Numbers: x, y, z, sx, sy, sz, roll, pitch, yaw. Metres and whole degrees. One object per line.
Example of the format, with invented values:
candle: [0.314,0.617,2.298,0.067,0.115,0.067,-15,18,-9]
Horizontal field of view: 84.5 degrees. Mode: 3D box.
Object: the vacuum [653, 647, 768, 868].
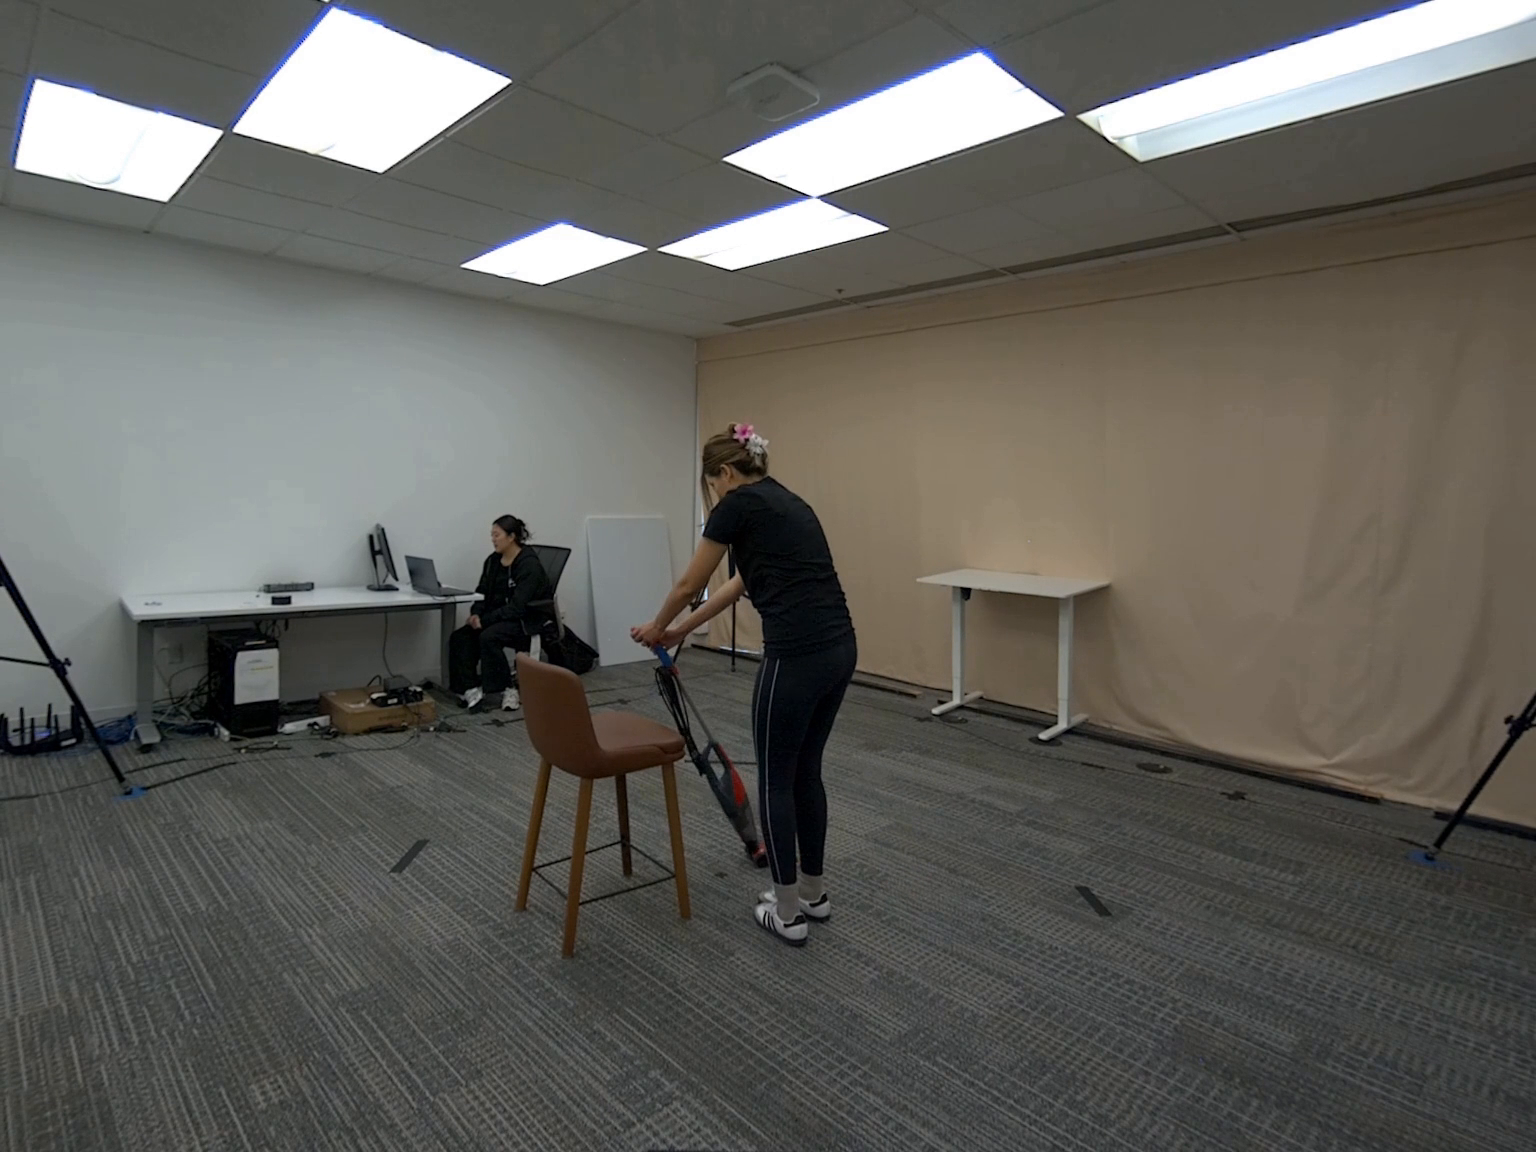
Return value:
vacuum: [-0.243,0.641,3.133,0.143,1.034,0.257,-35,15,-22]
